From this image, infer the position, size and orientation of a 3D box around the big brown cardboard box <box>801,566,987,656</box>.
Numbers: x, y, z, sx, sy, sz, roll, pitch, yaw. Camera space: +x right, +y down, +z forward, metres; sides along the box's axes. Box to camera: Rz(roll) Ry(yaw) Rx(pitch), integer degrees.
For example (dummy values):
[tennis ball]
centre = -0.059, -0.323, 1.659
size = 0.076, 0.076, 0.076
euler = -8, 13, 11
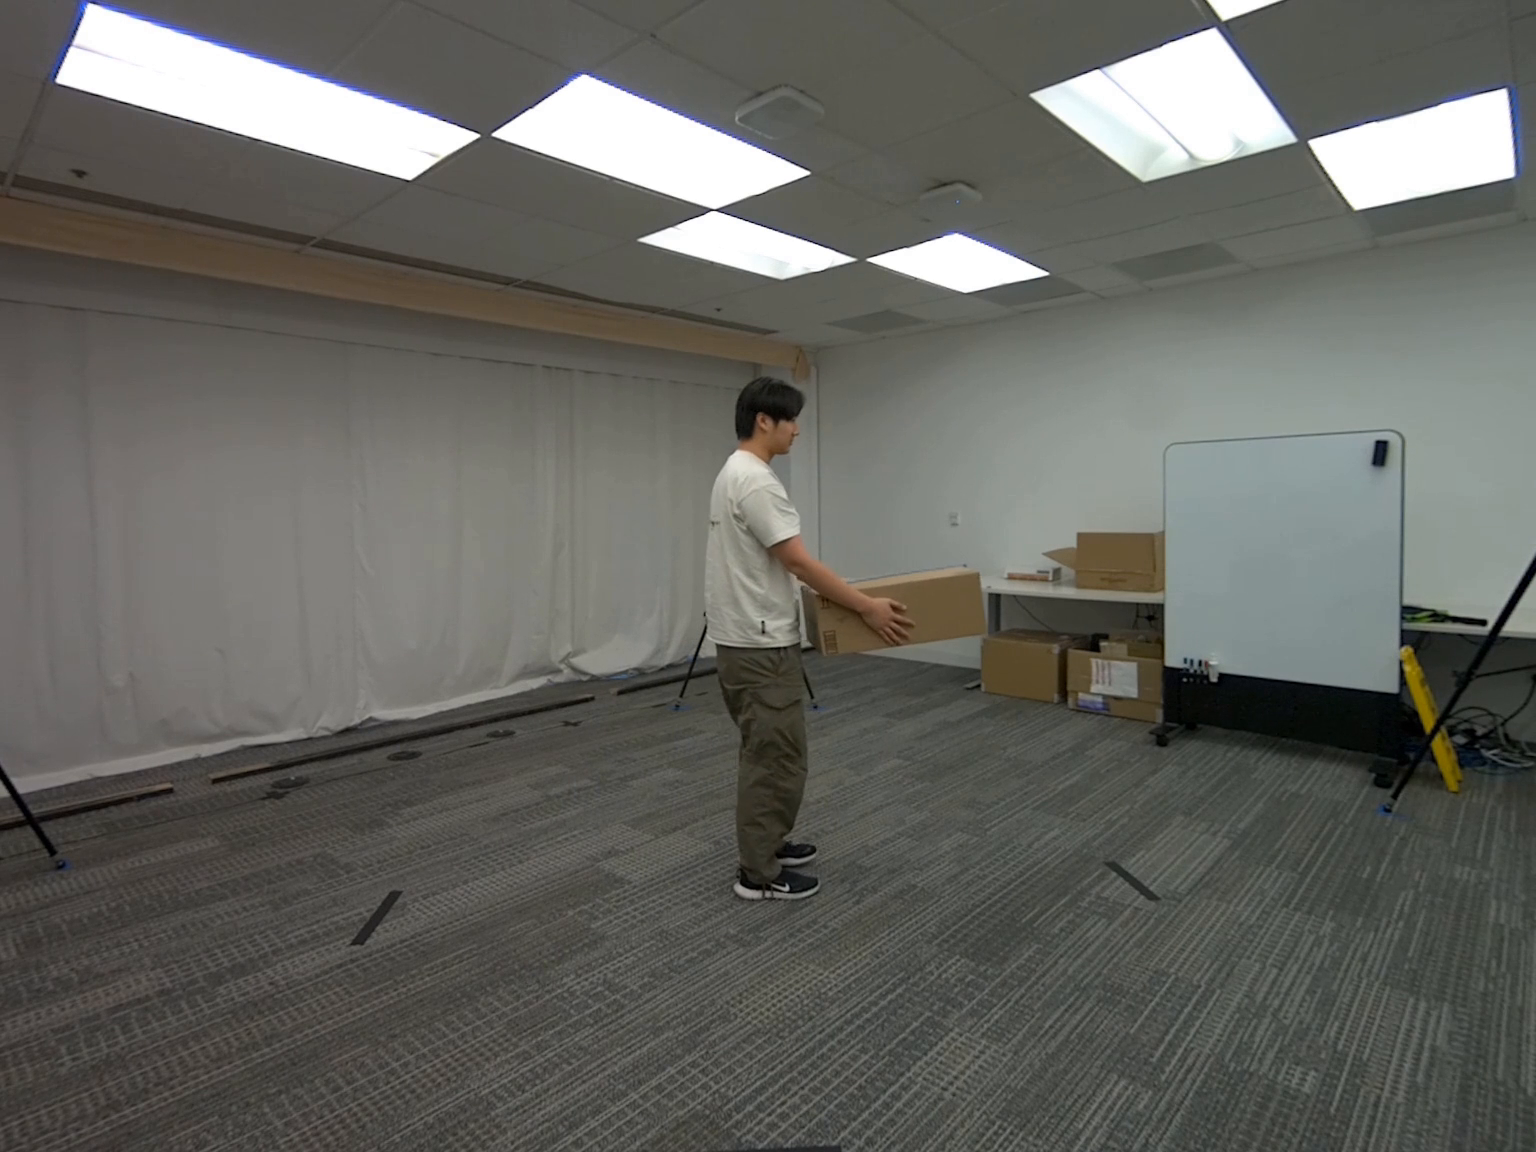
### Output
[big brown cardboard box]
centre = 0.442, 0.115, 3.047
size = 0.587, 0.232, 0.420
euler = -8, 4, -4
